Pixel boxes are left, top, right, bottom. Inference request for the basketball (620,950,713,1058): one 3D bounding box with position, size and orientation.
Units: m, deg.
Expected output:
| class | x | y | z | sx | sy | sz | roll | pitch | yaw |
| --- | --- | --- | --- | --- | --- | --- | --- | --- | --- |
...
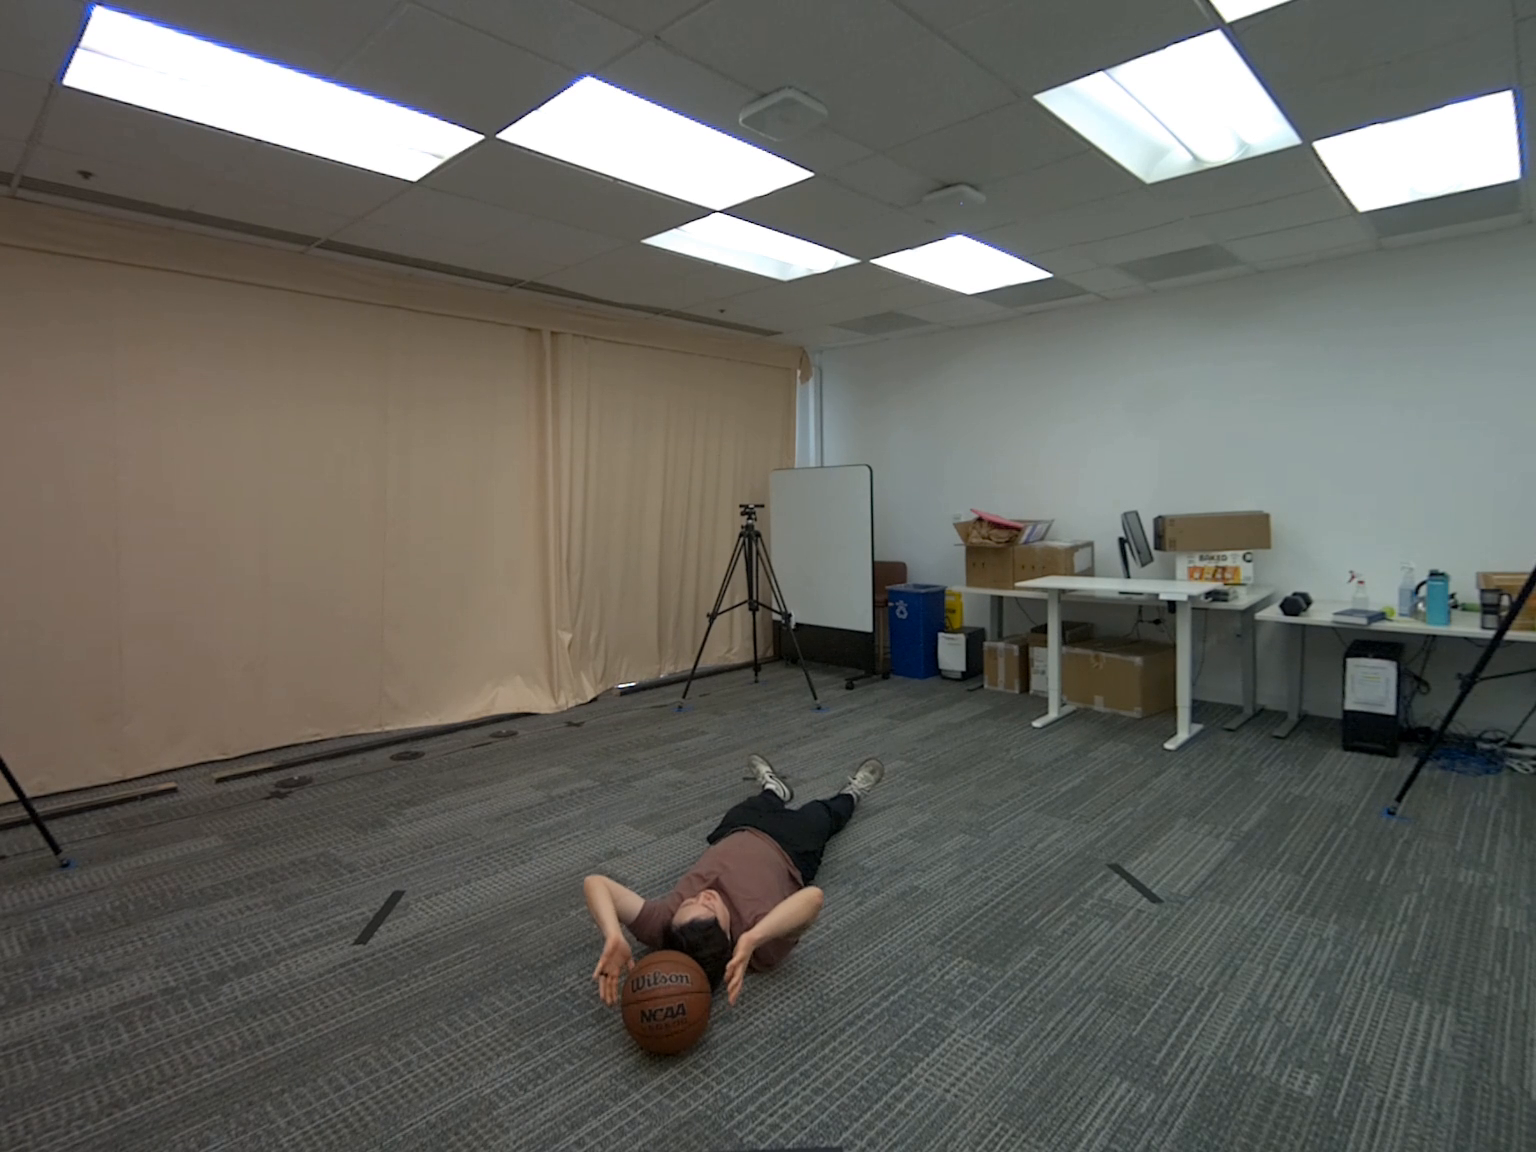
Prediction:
| class | x | y | z | sx | sy | sz | roll | pitch | yaw |
| --- | --- | --- | --- | --- | --- | --- | --- | --- | --- |
| basketball | -0.253 | 1.094 | 2.167 | 0.235 | 0.235 | 0.237 | 3 | 5 | -2 |
